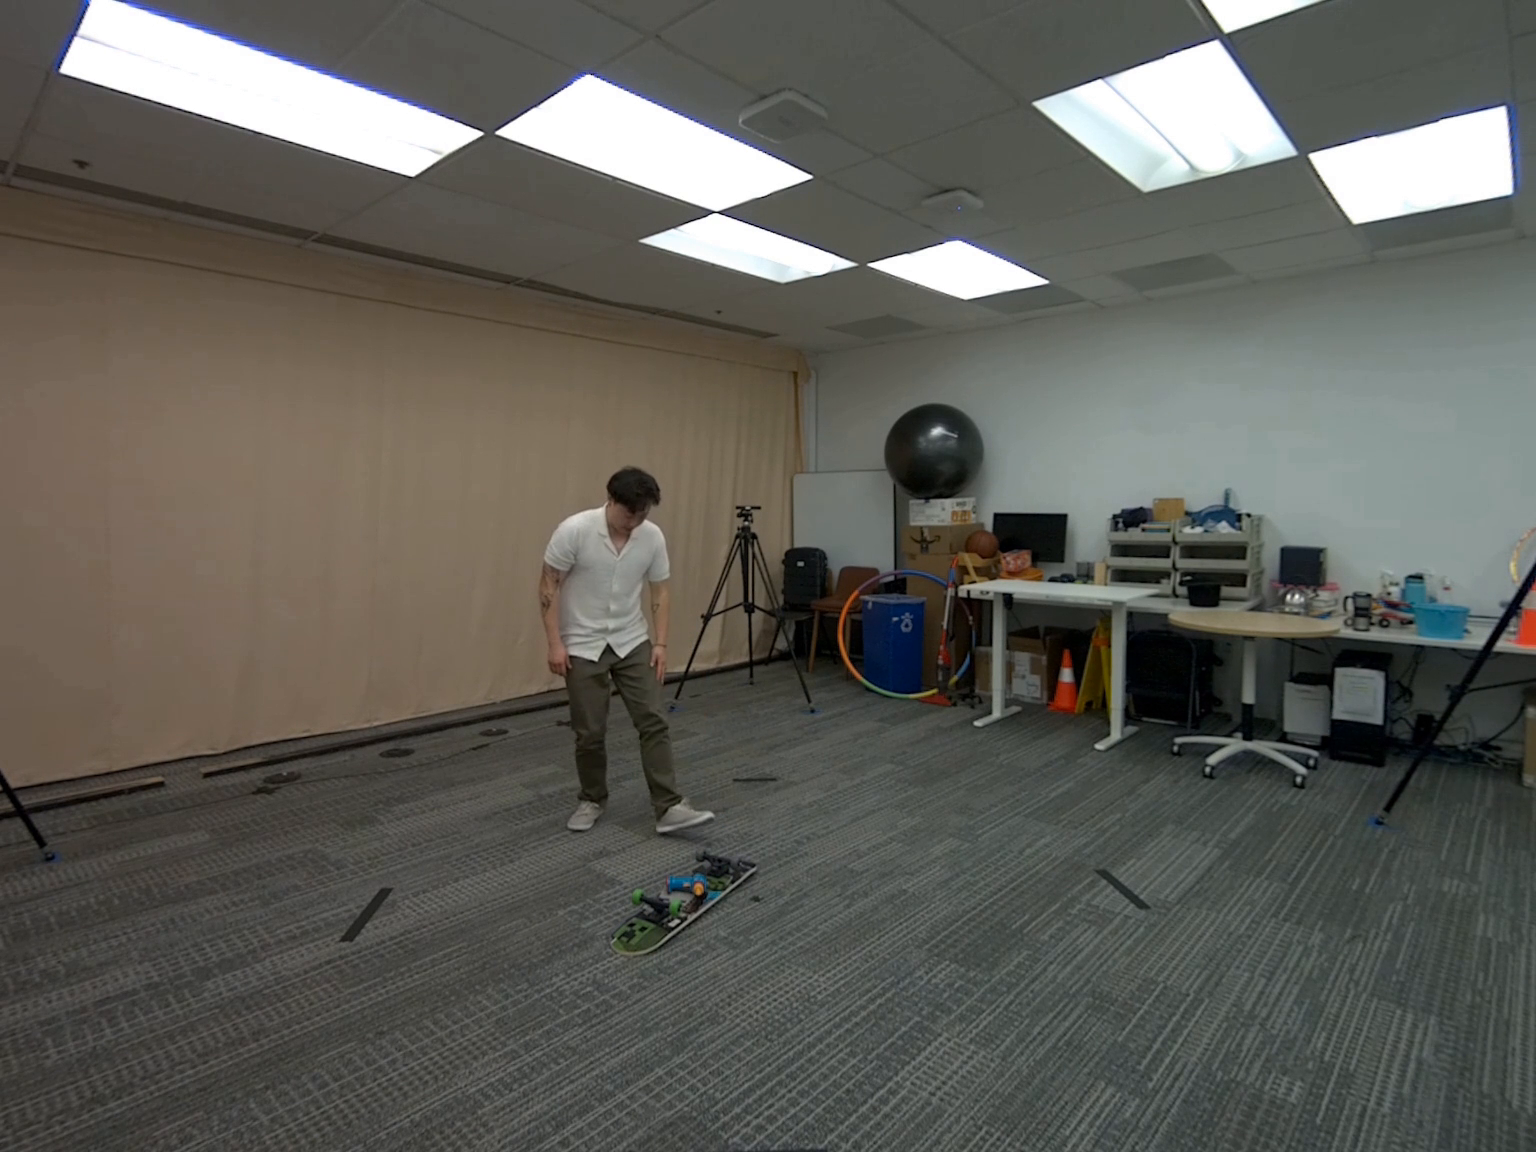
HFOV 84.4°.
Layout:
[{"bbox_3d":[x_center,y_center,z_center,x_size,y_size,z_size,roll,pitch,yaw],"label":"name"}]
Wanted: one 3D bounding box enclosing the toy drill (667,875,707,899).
[{"bbox_3d":[-0.283,1.089,2.947,0.146,0.061,0.170,-2,-2,-2],"label":"toy drill"}]
